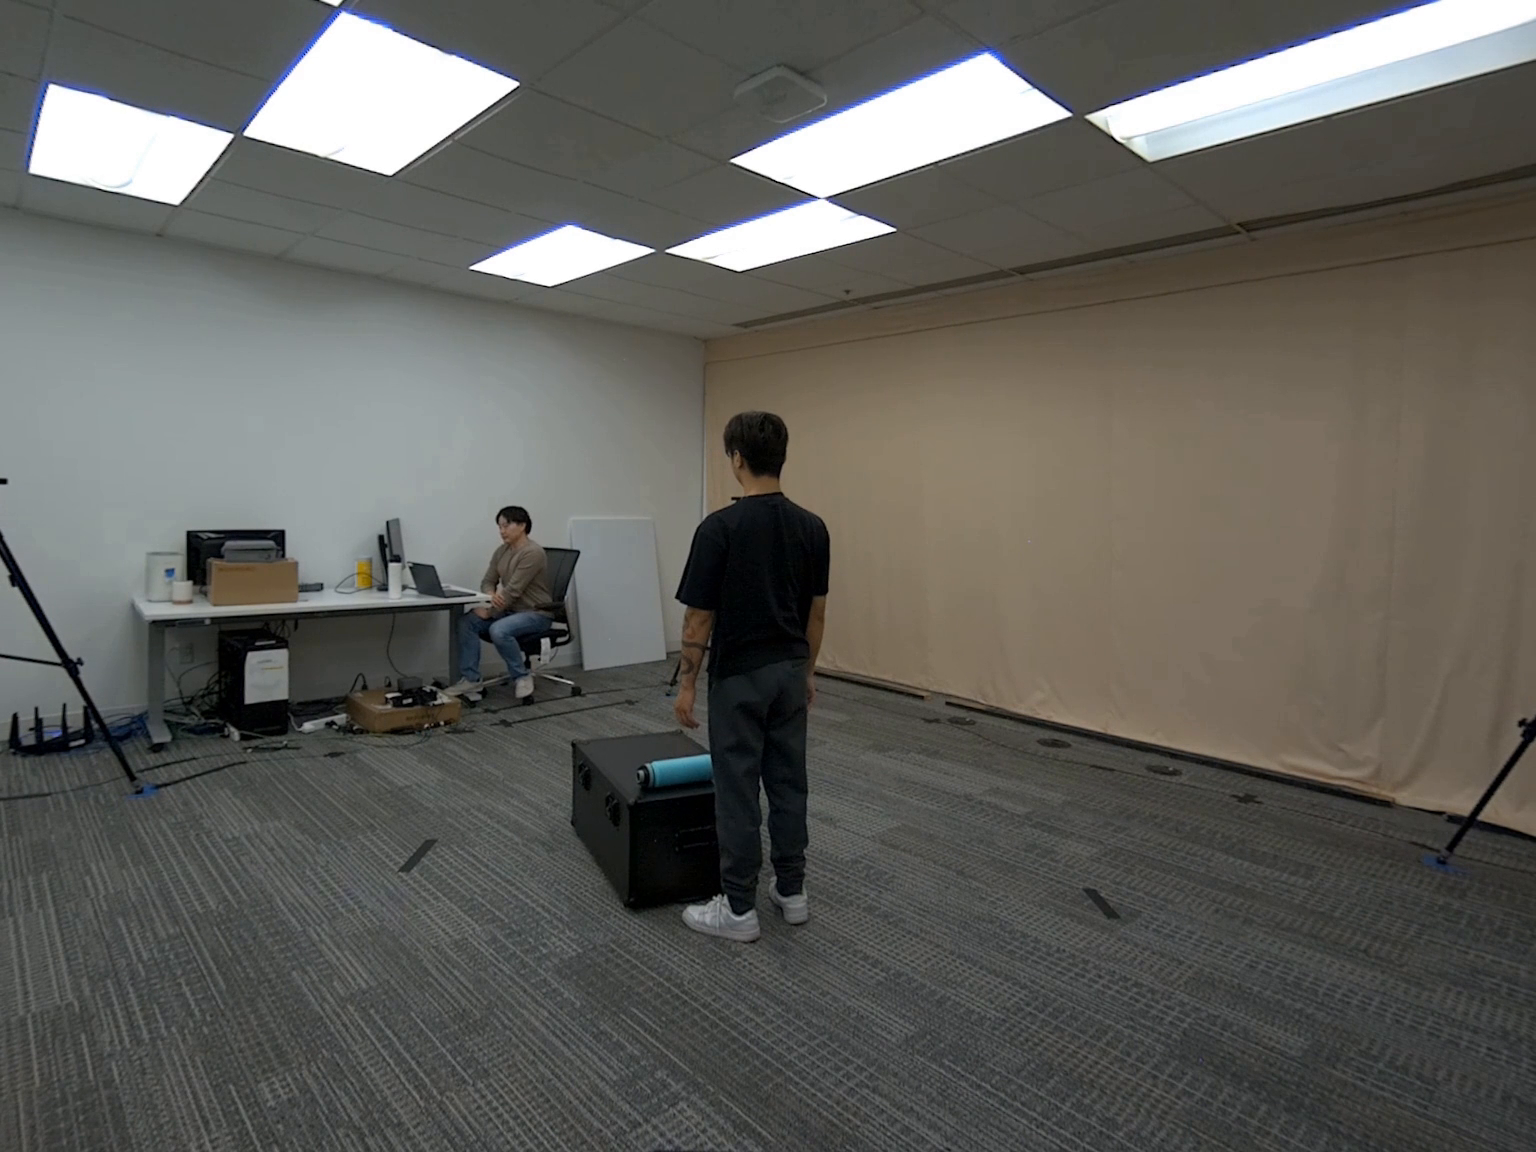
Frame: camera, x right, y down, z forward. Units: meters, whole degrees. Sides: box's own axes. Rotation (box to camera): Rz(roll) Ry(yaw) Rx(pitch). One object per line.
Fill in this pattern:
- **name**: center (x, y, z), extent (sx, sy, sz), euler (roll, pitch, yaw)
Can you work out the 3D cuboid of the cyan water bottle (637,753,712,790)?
- **cyan water bottle**: center (-0.333, 0.692, 2.976), extent (0.278, 0.092, 0.094), euler (-3, 6, -25)
